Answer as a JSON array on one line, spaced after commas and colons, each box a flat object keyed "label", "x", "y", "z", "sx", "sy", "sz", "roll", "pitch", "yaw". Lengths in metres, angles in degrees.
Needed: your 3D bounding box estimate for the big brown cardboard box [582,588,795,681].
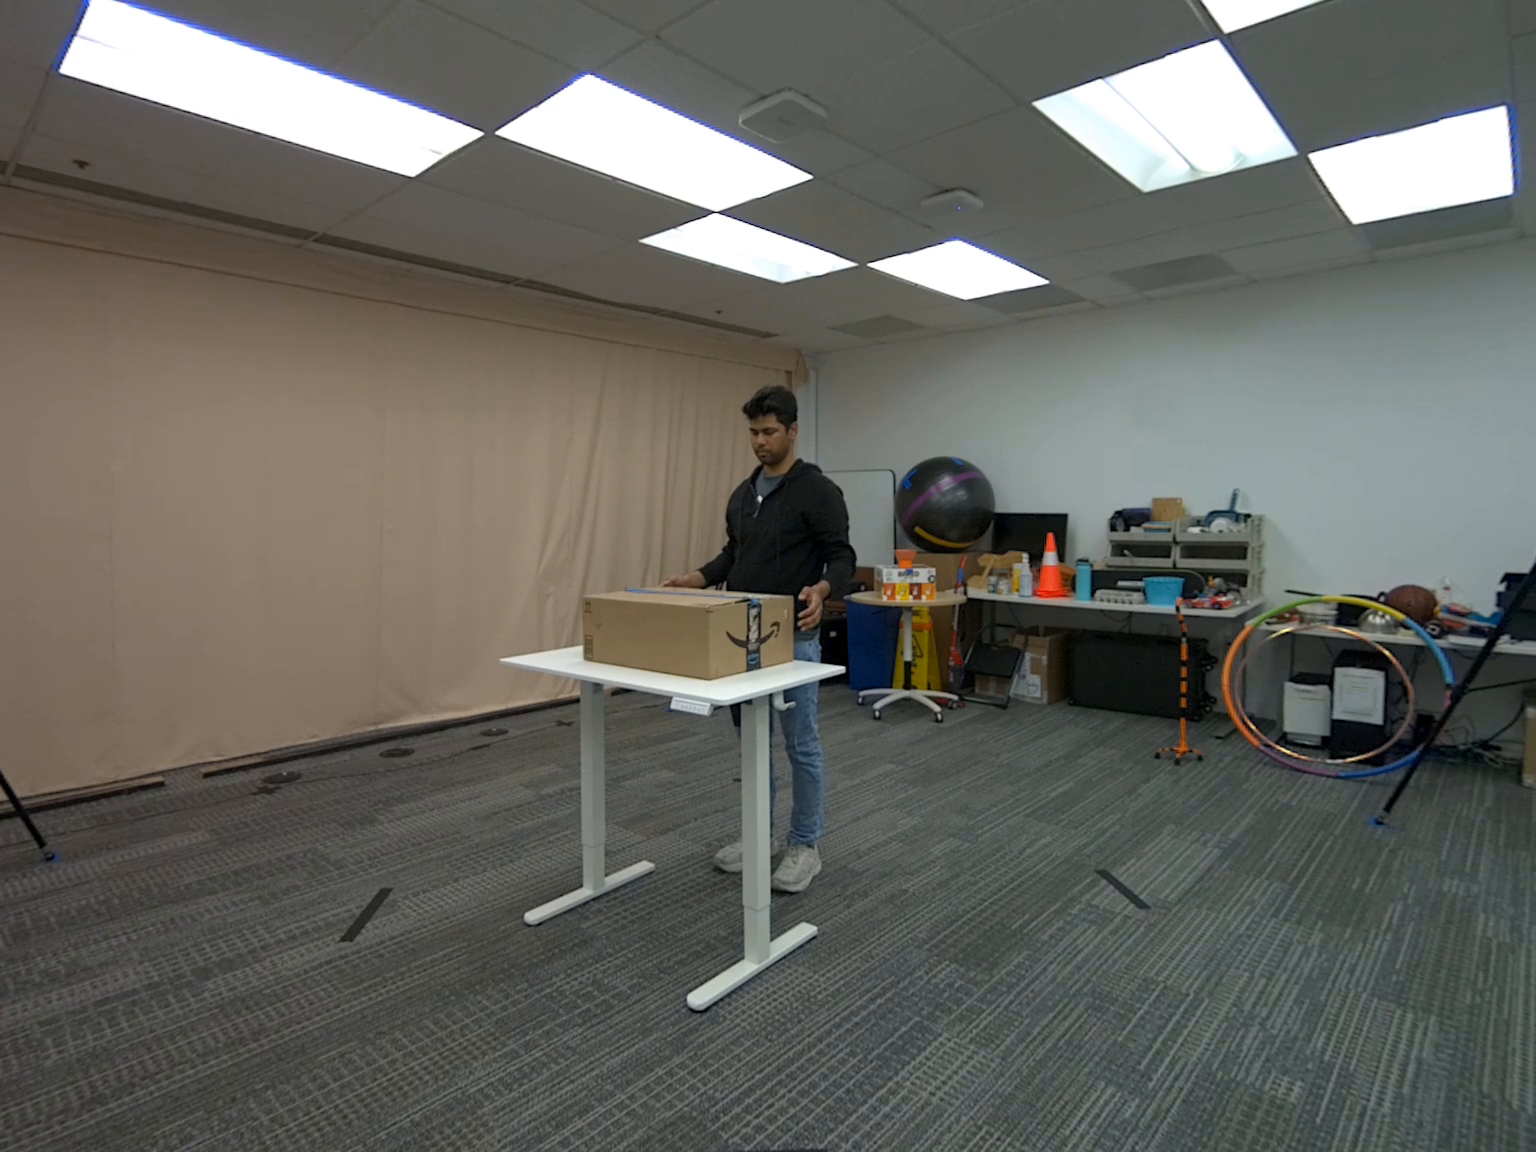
[{"label": "big brown cardboard box", "x": -0.264, "y": 0.171, "z": 2.777, "sx": 0.608, "sy": 0.233, "sz": 0.405, "roll": 2, "pitch": 4, "yaw": 40}]
